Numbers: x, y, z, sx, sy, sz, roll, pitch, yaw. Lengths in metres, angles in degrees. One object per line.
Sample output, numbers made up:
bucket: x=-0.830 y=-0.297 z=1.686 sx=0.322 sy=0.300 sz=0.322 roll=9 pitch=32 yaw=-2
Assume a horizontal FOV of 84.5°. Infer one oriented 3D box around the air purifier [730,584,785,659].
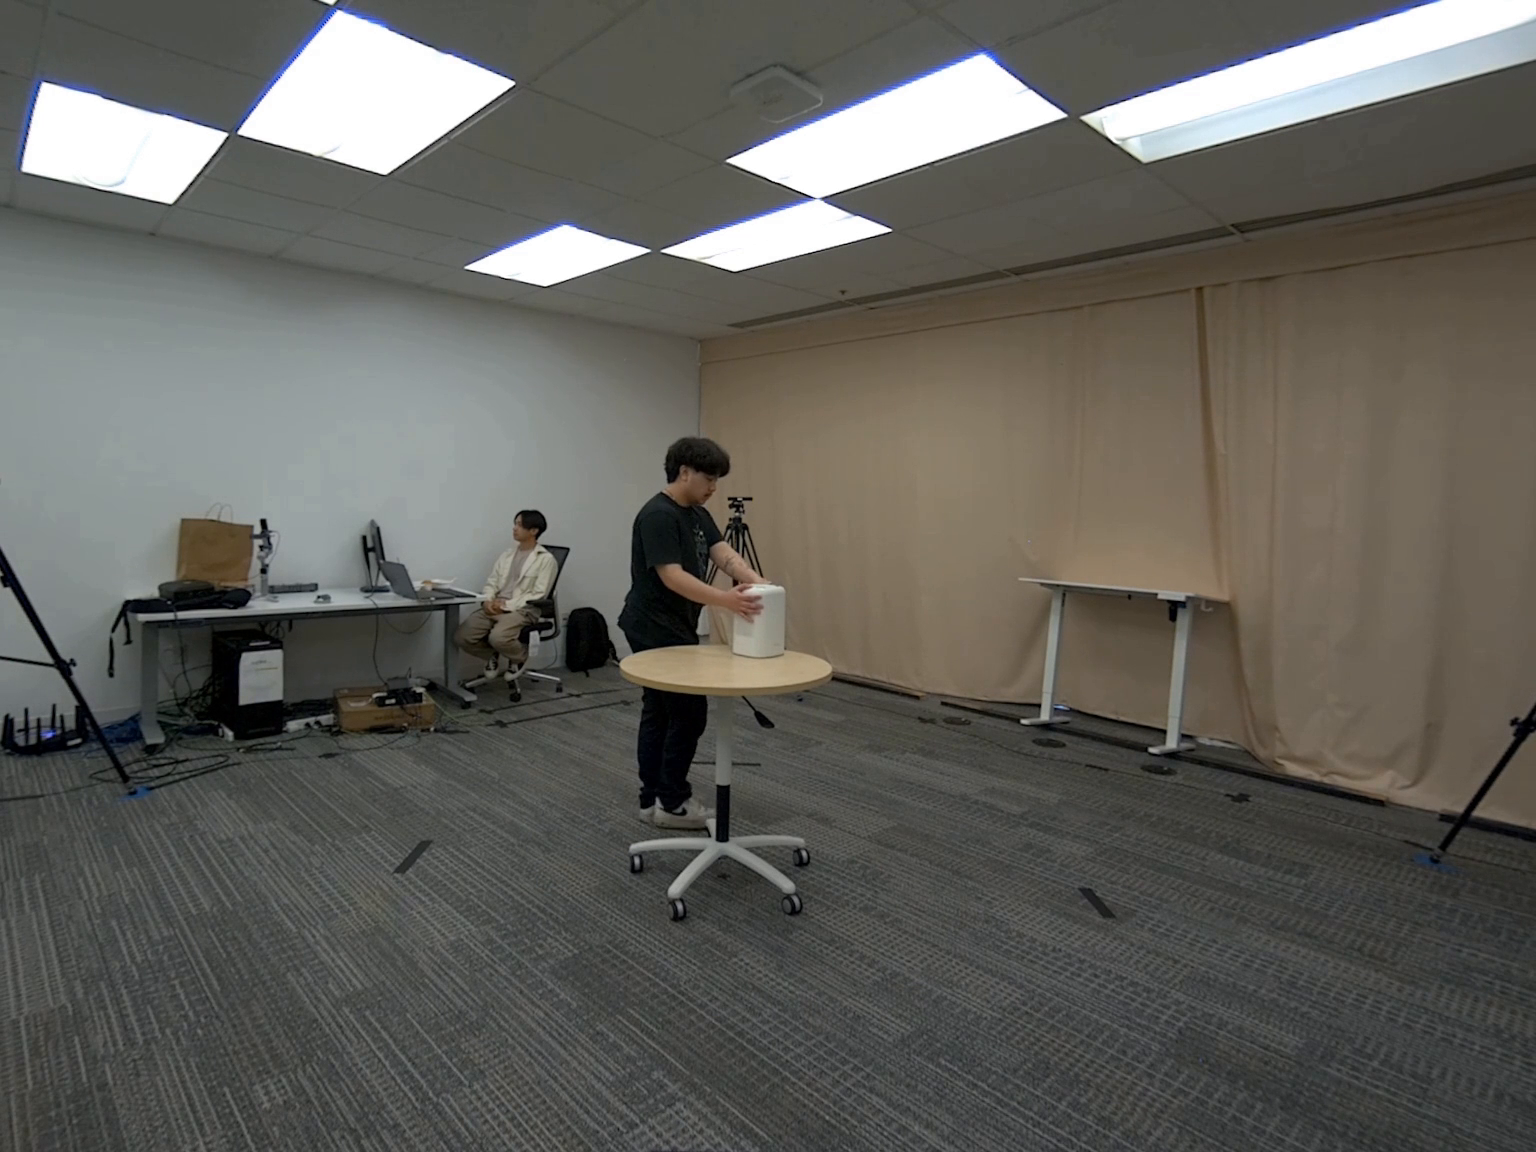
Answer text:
air purifier: x=-0.040 y=0.170 z=3.249 sx=0.176 sy=0.265 sz=0.167 roll=5 pitch=5 yaw=43
